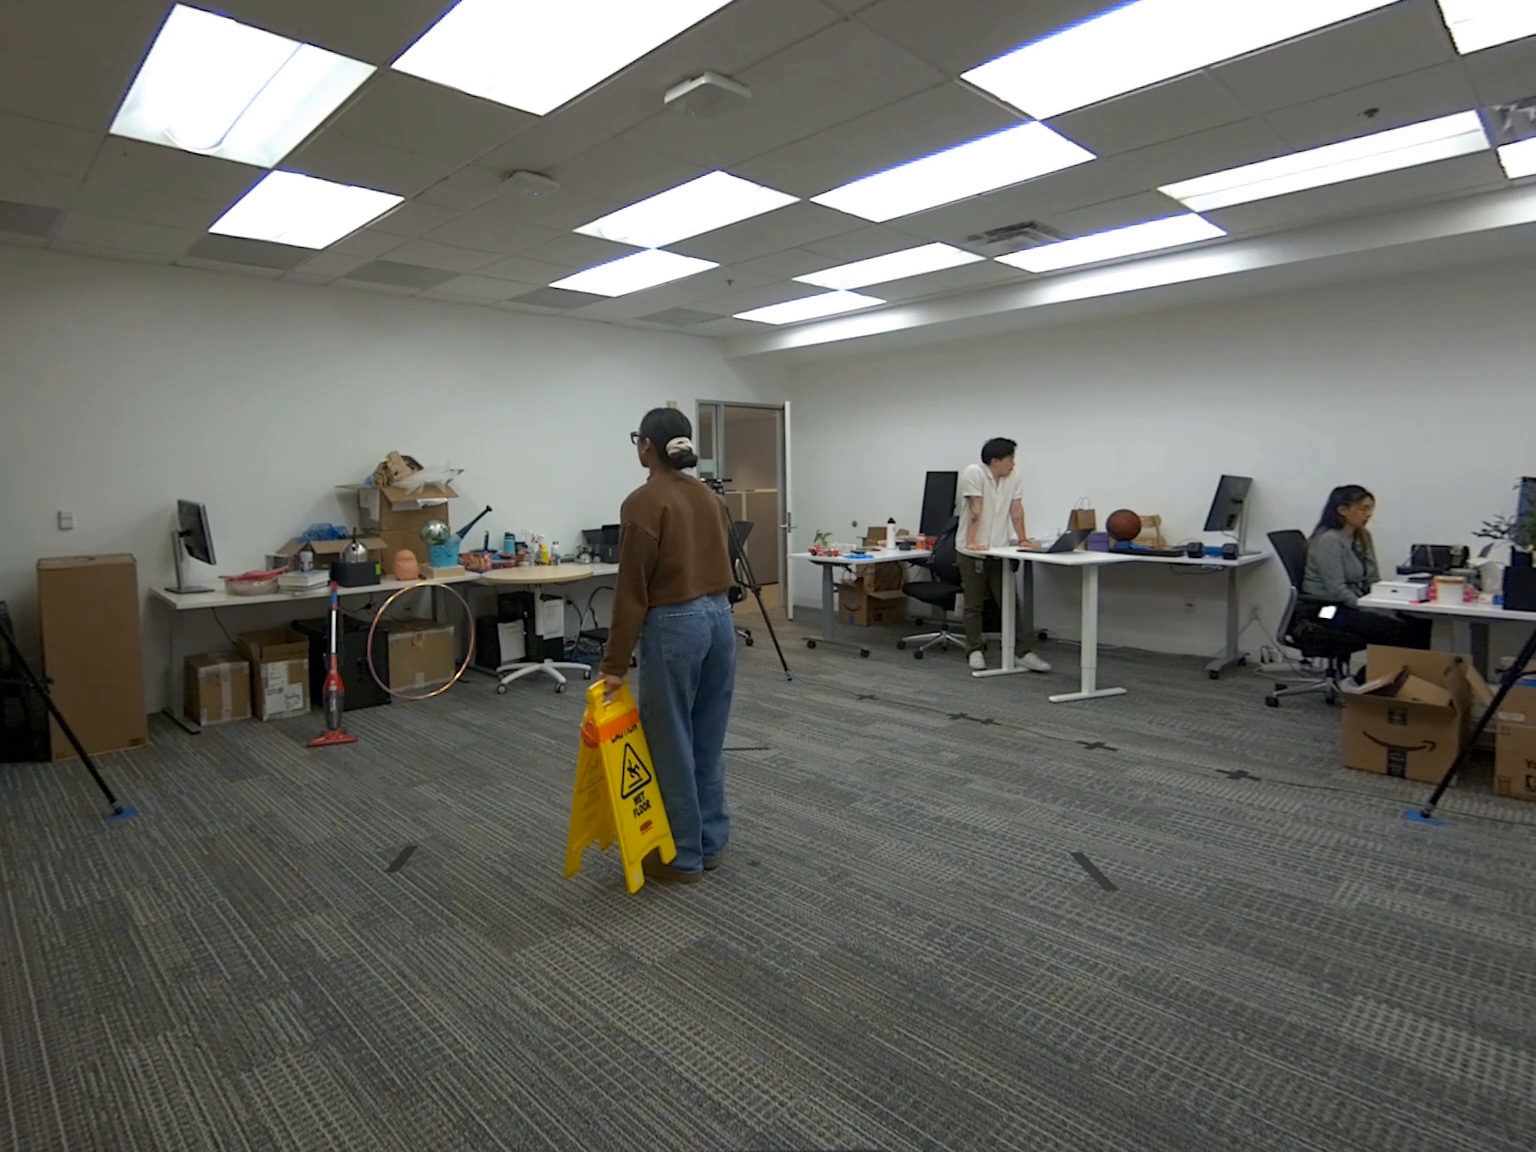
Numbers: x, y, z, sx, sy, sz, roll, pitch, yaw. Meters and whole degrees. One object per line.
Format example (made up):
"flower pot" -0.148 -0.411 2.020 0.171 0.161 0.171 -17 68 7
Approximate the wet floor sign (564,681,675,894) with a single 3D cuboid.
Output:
"wet floor sign" -0.507 0.661 2.832 0.296 0.642 0.277 0 7 25
